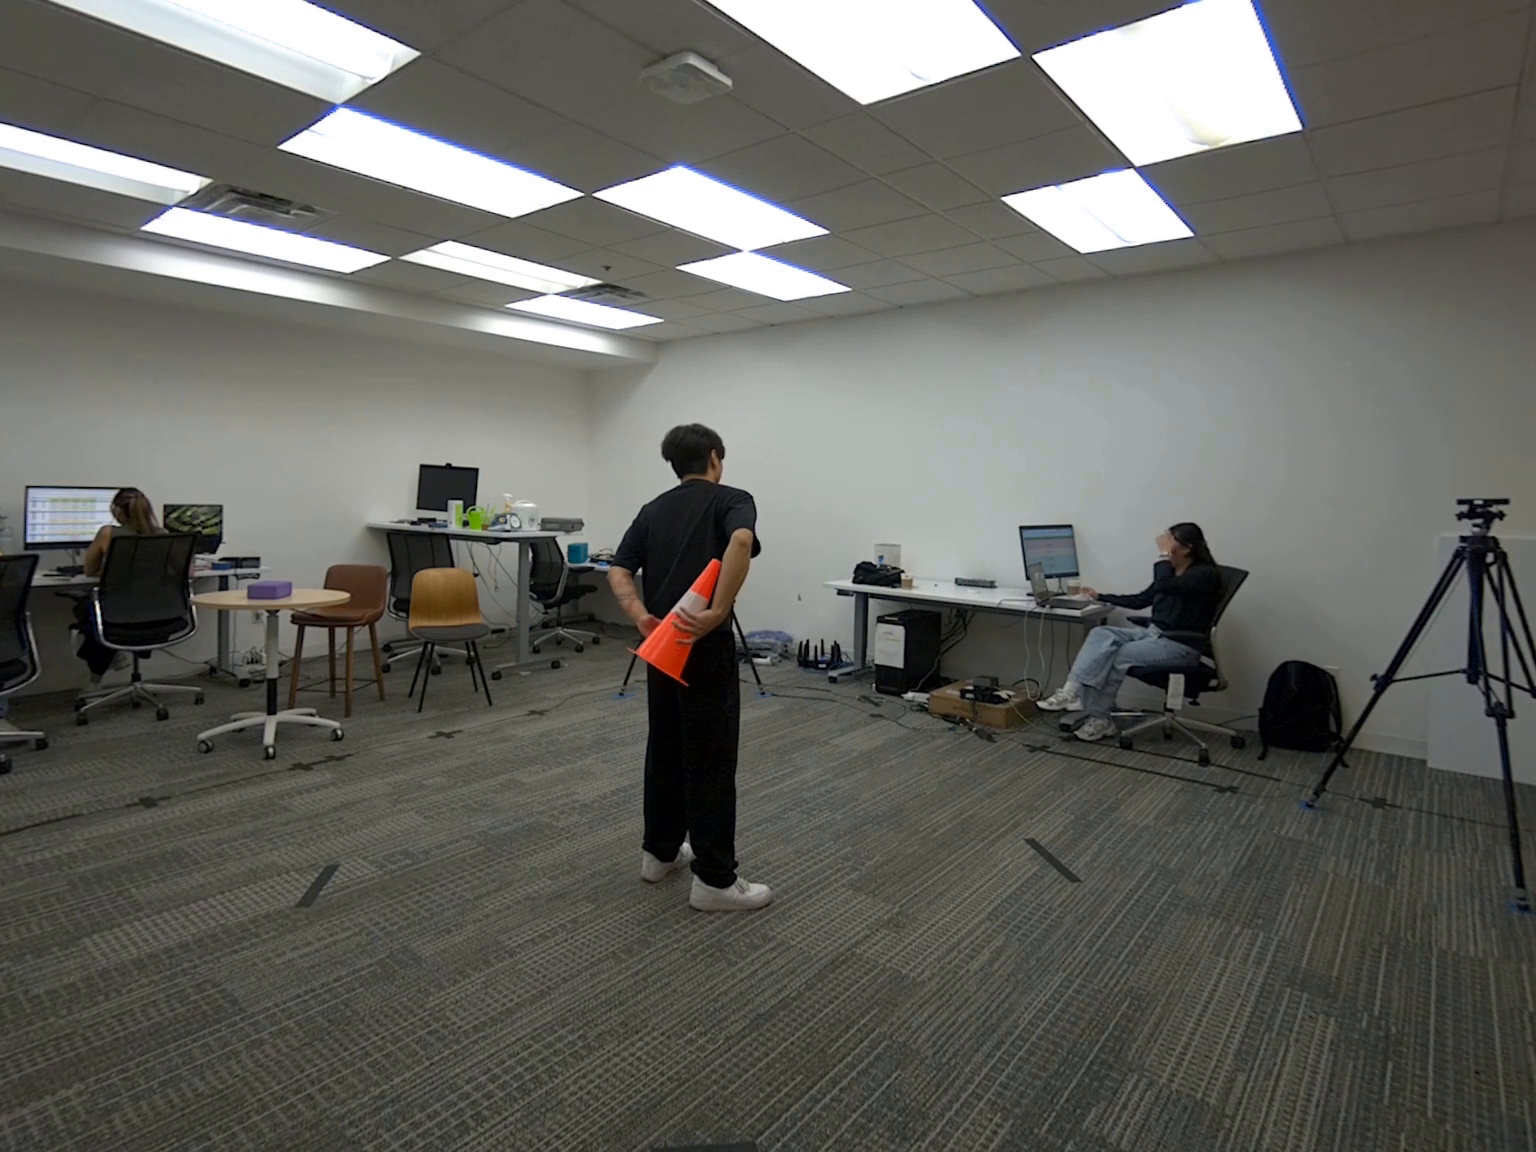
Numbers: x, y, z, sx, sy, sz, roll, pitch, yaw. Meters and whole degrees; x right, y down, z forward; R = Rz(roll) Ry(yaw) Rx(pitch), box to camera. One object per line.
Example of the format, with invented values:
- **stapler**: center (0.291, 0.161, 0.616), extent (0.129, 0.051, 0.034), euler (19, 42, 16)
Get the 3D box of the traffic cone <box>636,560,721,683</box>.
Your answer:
- **traffic cone**: center (-0.266, 0.117, 2.671), extent (0.205, 0.384, 0.203), euler (30, -4, -1)
